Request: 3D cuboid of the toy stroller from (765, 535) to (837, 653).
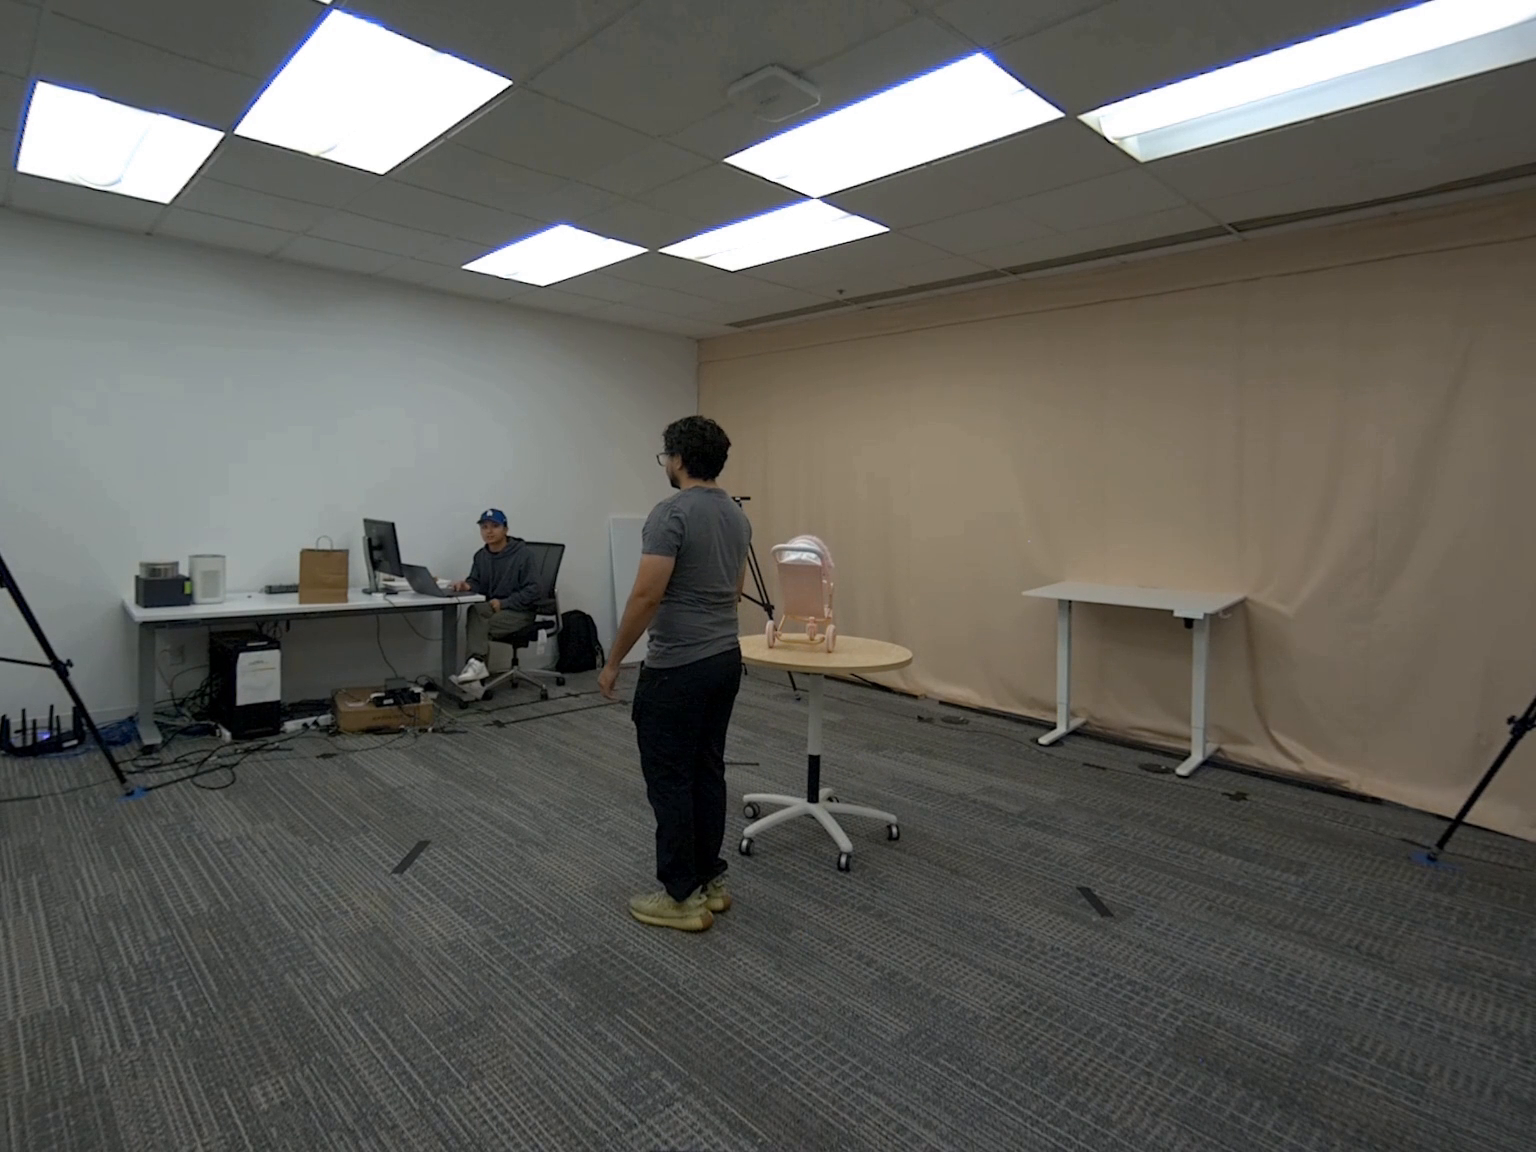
[{"bbox_3d":[0.153,0.073,3.487,0.286,0.527,0.341,3,19,18],"label":"toy stroller"}]
